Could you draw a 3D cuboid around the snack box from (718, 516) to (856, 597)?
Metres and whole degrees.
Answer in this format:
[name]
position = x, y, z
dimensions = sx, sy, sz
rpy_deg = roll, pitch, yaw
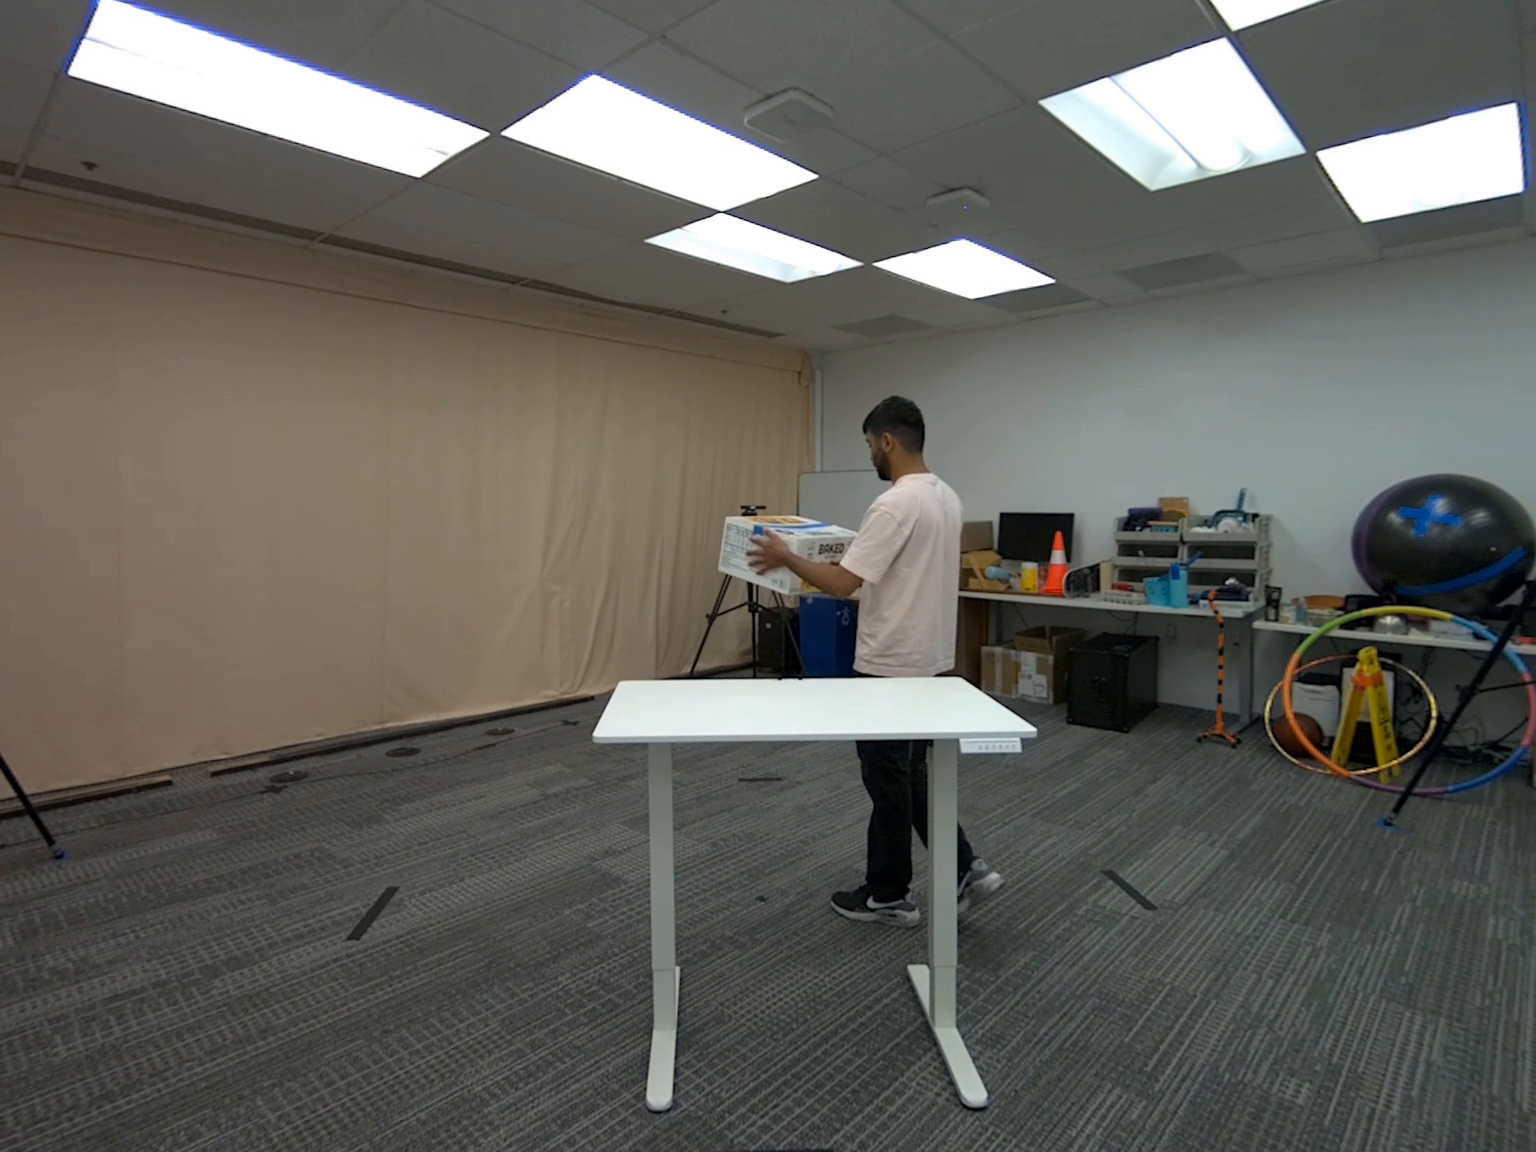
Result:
[snack box]
position = 0.098, -0.081, 3.065
dimensions = 0.353, 0.204, 0.393
rpy_deg = 18, 15, 40
